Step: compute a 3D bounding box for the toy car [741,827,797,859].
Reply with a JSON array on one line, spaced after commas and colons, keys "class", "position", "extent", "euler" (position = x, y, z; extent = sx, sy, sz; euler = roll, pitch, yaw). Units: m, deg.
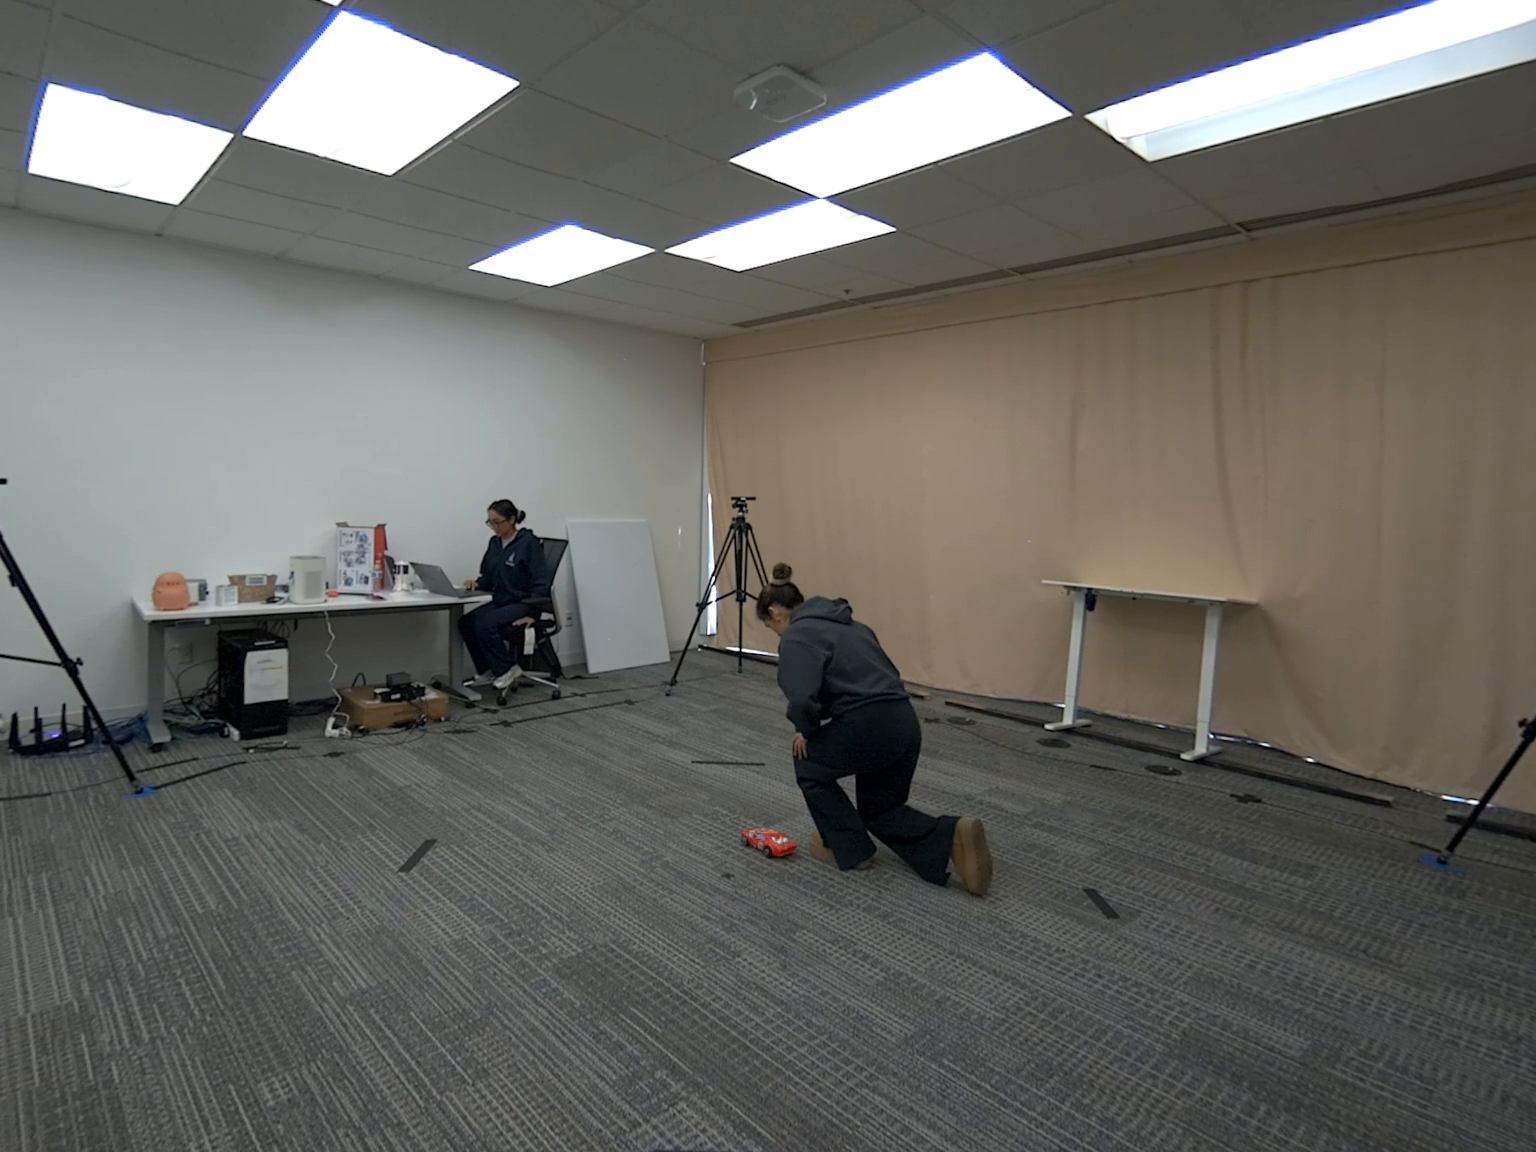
[{"class": "toy car", "position": [0.000, 1.053, 3.361], "extent": [0.127, 0.083, 0.259], "euler": [-2, -5, -40]}]
